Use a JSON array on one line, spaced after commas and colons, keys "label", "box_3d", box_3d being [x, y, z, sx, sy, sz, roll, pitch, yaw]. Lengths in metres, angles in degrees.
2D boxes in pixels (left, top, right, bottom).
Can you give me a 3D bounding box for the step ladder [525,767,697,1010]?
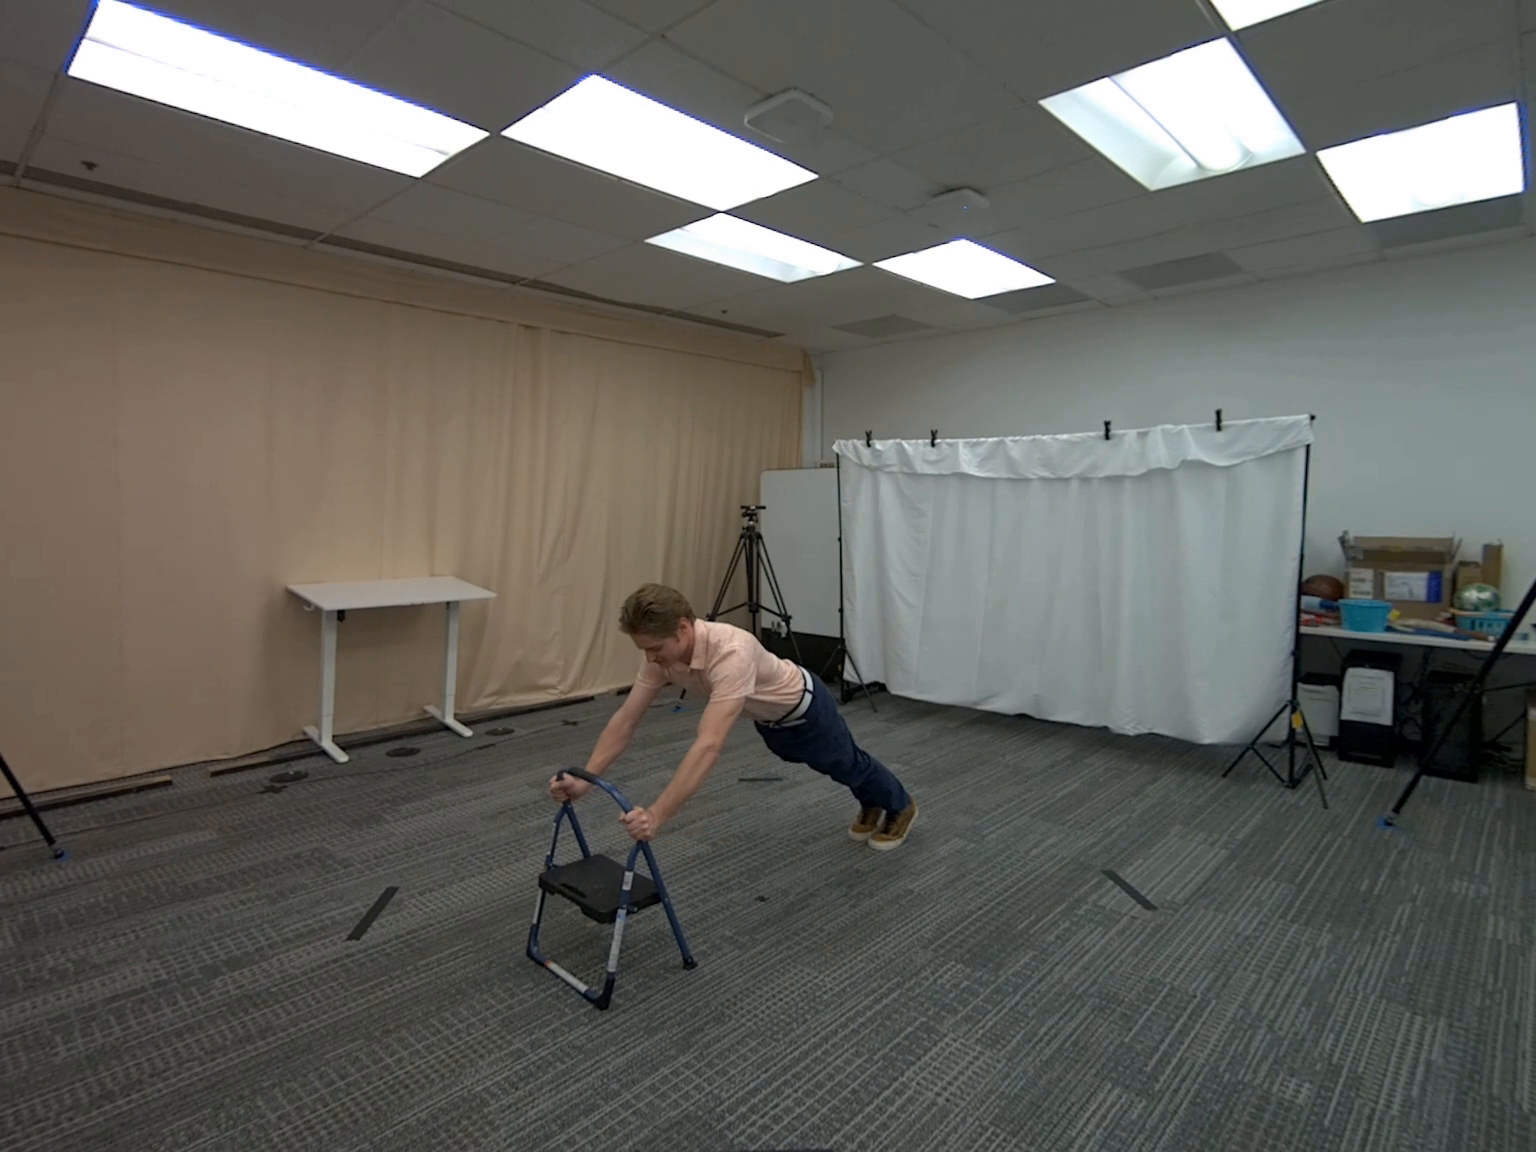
[{"label": "step ladder", "box_3d": [-0.487, 0.883, 2.568, 0.445, 0.605, 0.338, 3, 4, 44]}]
